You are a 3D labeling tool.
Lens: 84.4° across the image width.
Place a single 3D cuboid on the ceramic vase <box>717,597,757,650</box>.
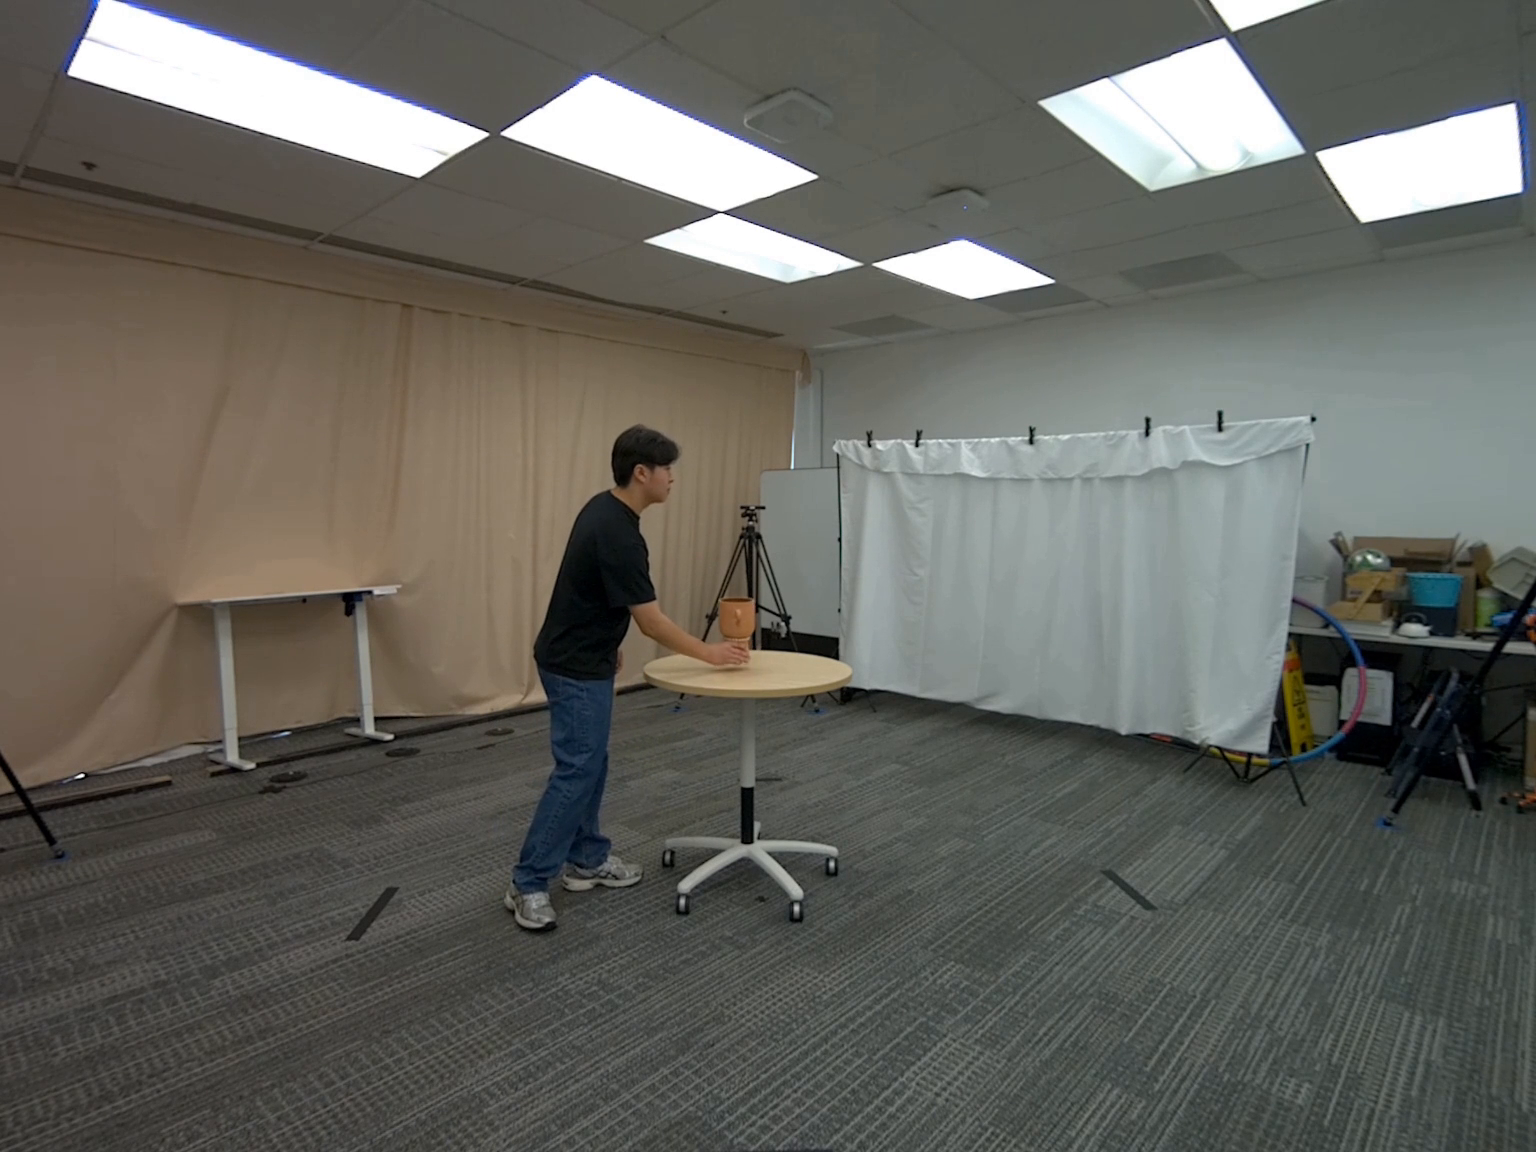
[{"bbox_3d":[-0.117,0.195,3.053,0.139,0.219,0.154,4,6,31],"label":"ceramic vase"}]
